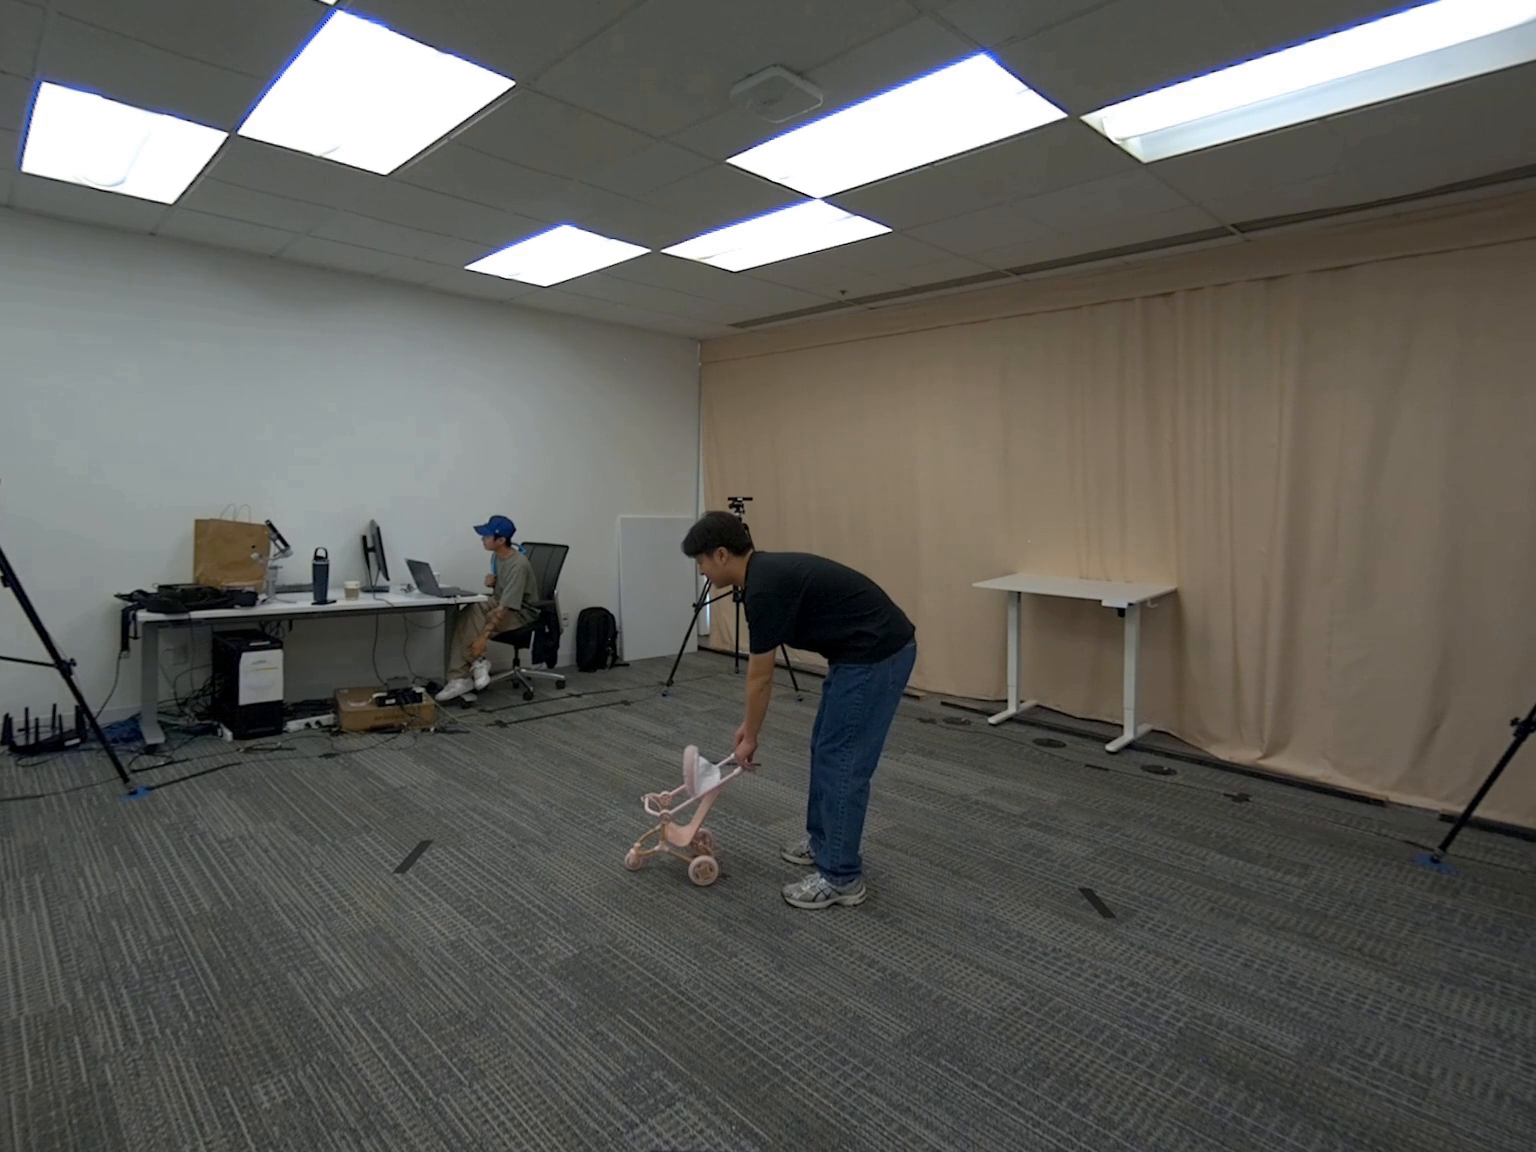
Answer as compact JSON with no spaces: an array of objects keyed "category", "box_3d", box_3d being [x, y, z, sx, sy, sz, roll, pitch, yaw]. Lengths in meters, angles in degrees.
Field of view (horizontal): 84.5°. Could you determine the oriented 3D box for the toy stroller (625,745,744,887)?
[{"category":"toy stroller","box_3d":[-0.311,0.873,3.132,0.341,0.534,0.282,17,4,-1]}]
